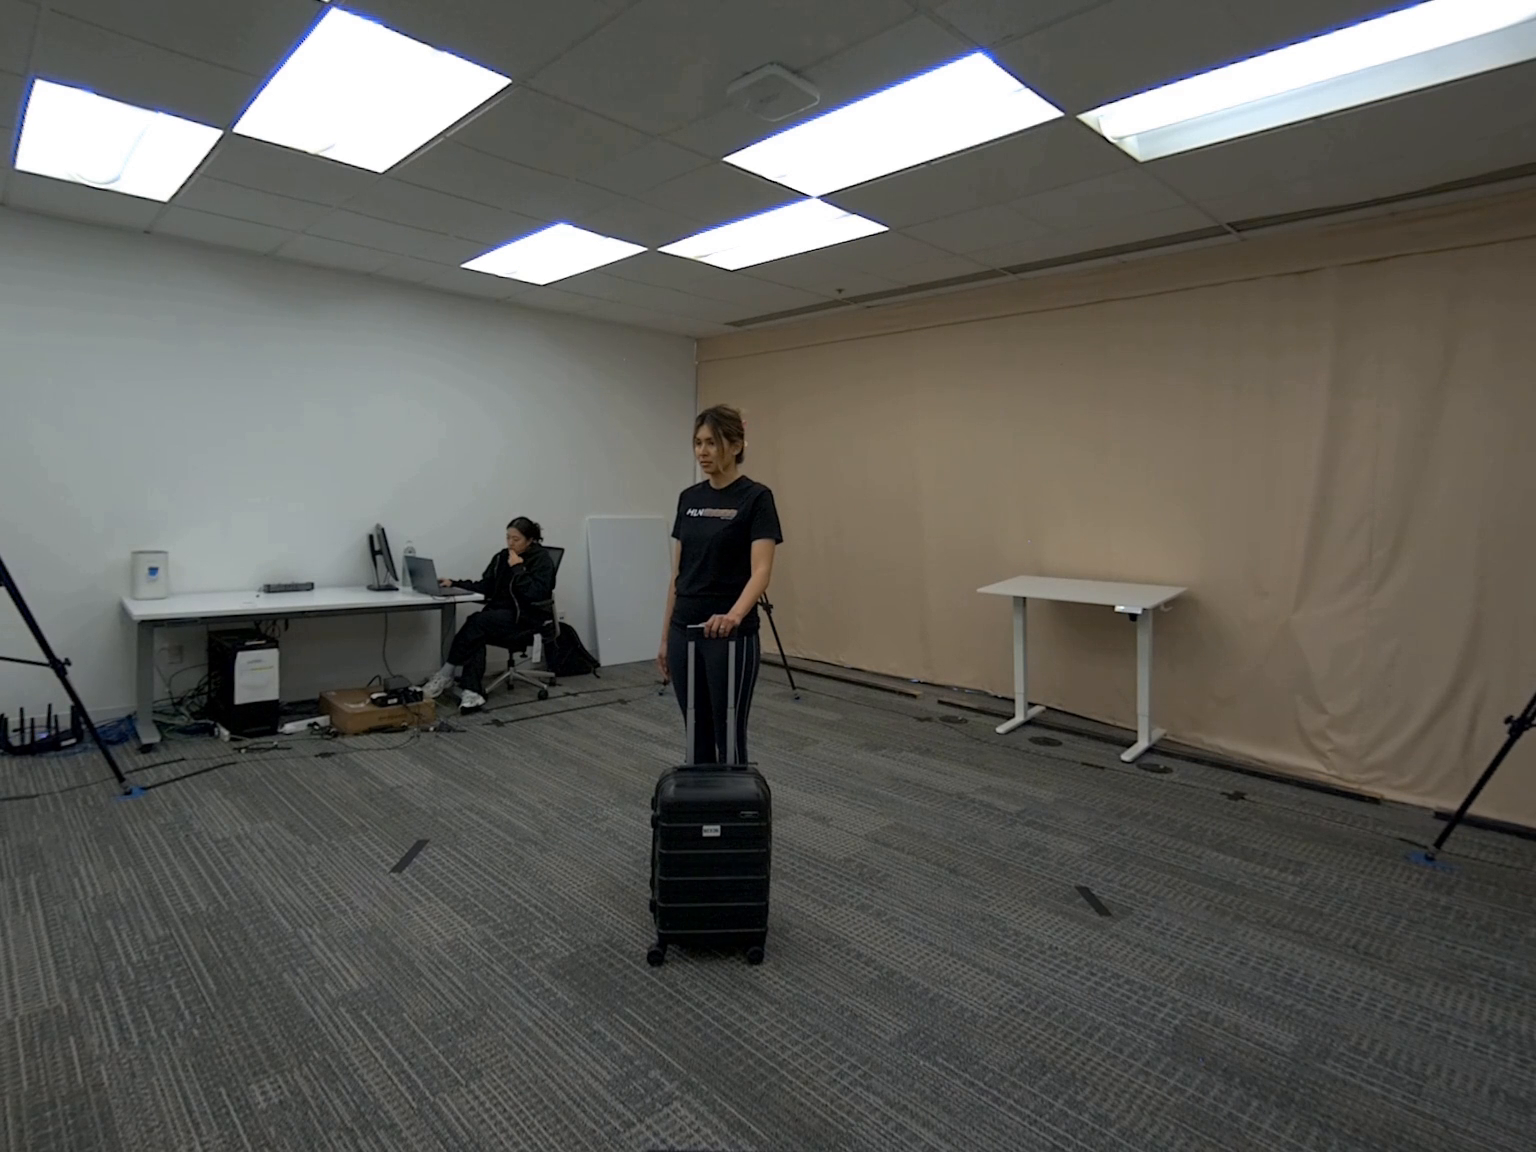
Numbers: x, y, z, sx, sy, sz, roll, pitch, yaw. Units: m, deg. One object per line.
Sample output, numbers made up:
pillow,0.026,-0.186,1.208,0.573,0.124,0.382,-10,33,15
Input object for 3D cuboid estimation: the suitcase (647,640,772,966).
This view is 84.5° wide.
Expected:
suitcase,-0.177,0.676,2.588,0.383,0.974,0.259,1,6,-4
